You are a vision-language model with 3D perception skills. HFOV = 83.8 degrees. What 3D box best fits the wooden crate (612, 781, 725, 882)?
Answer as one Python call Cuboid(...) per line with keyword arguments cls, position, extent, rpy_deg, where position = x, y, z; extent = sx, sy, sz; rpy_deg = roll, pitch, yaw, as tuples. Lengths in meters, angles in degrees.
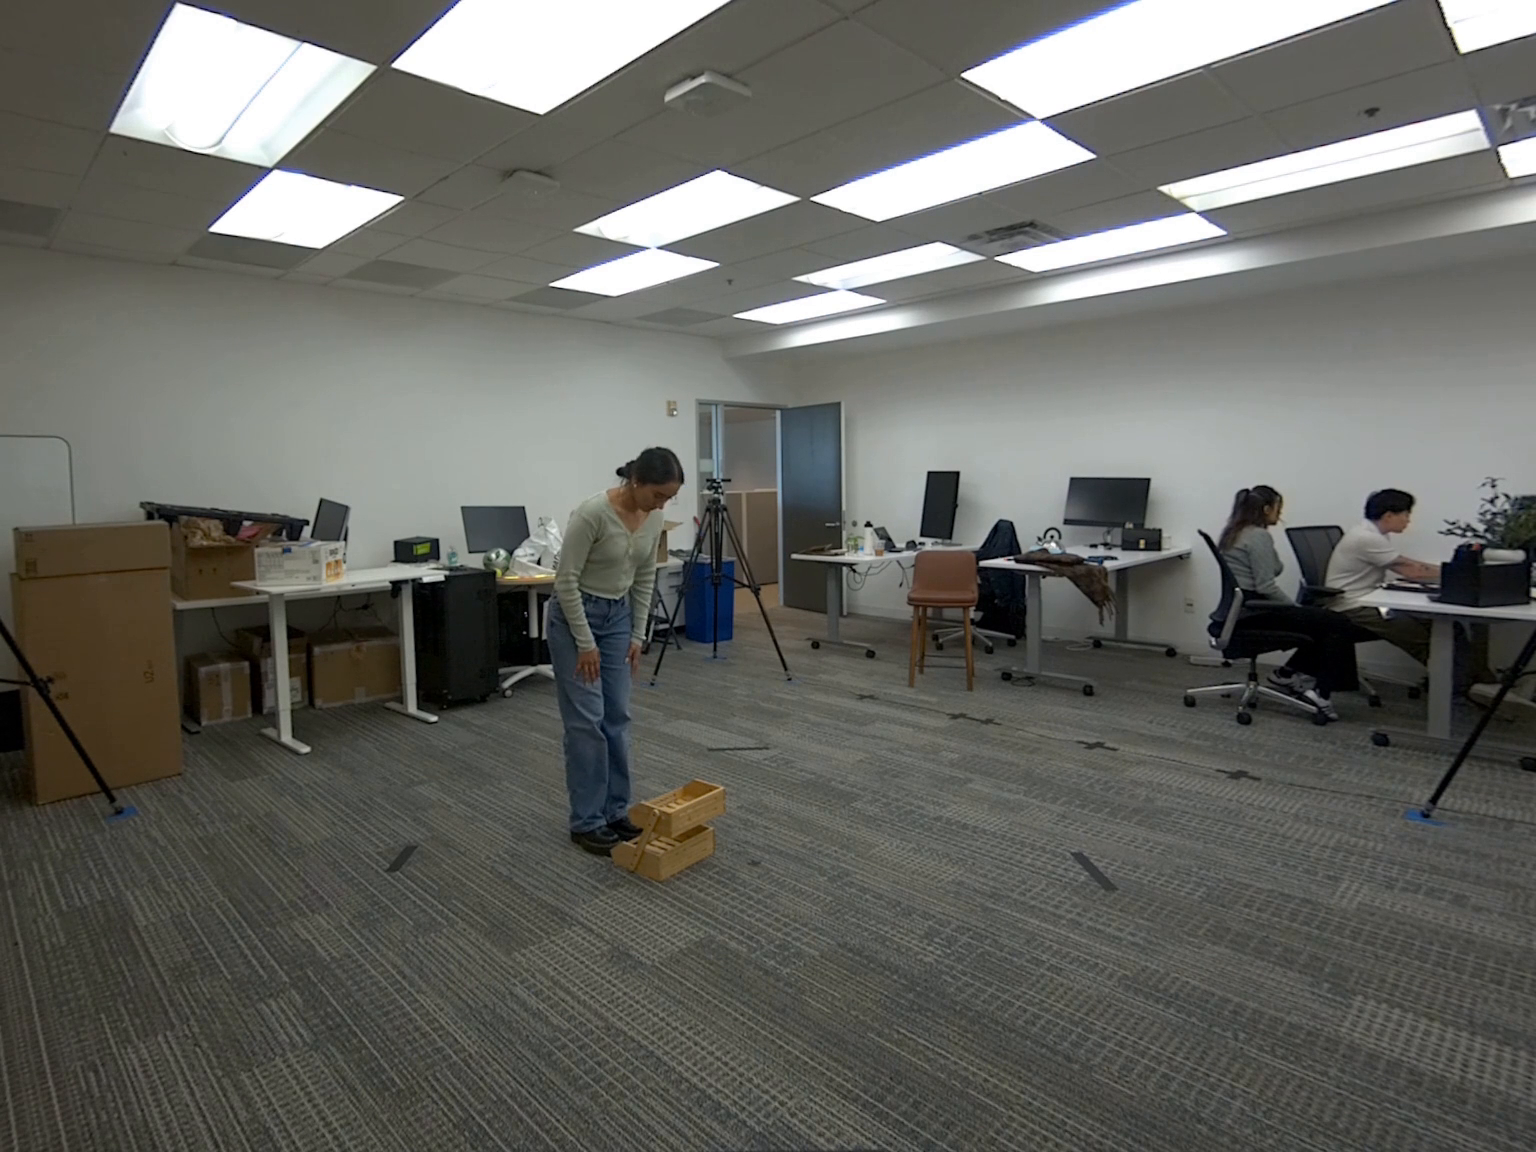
Cuboid(cls="wooden crate", position=(-0.364, 0.912, 3.138), extent=(0.311, 0.272, 0.316), rpy_deg=(4, 7, 37))
